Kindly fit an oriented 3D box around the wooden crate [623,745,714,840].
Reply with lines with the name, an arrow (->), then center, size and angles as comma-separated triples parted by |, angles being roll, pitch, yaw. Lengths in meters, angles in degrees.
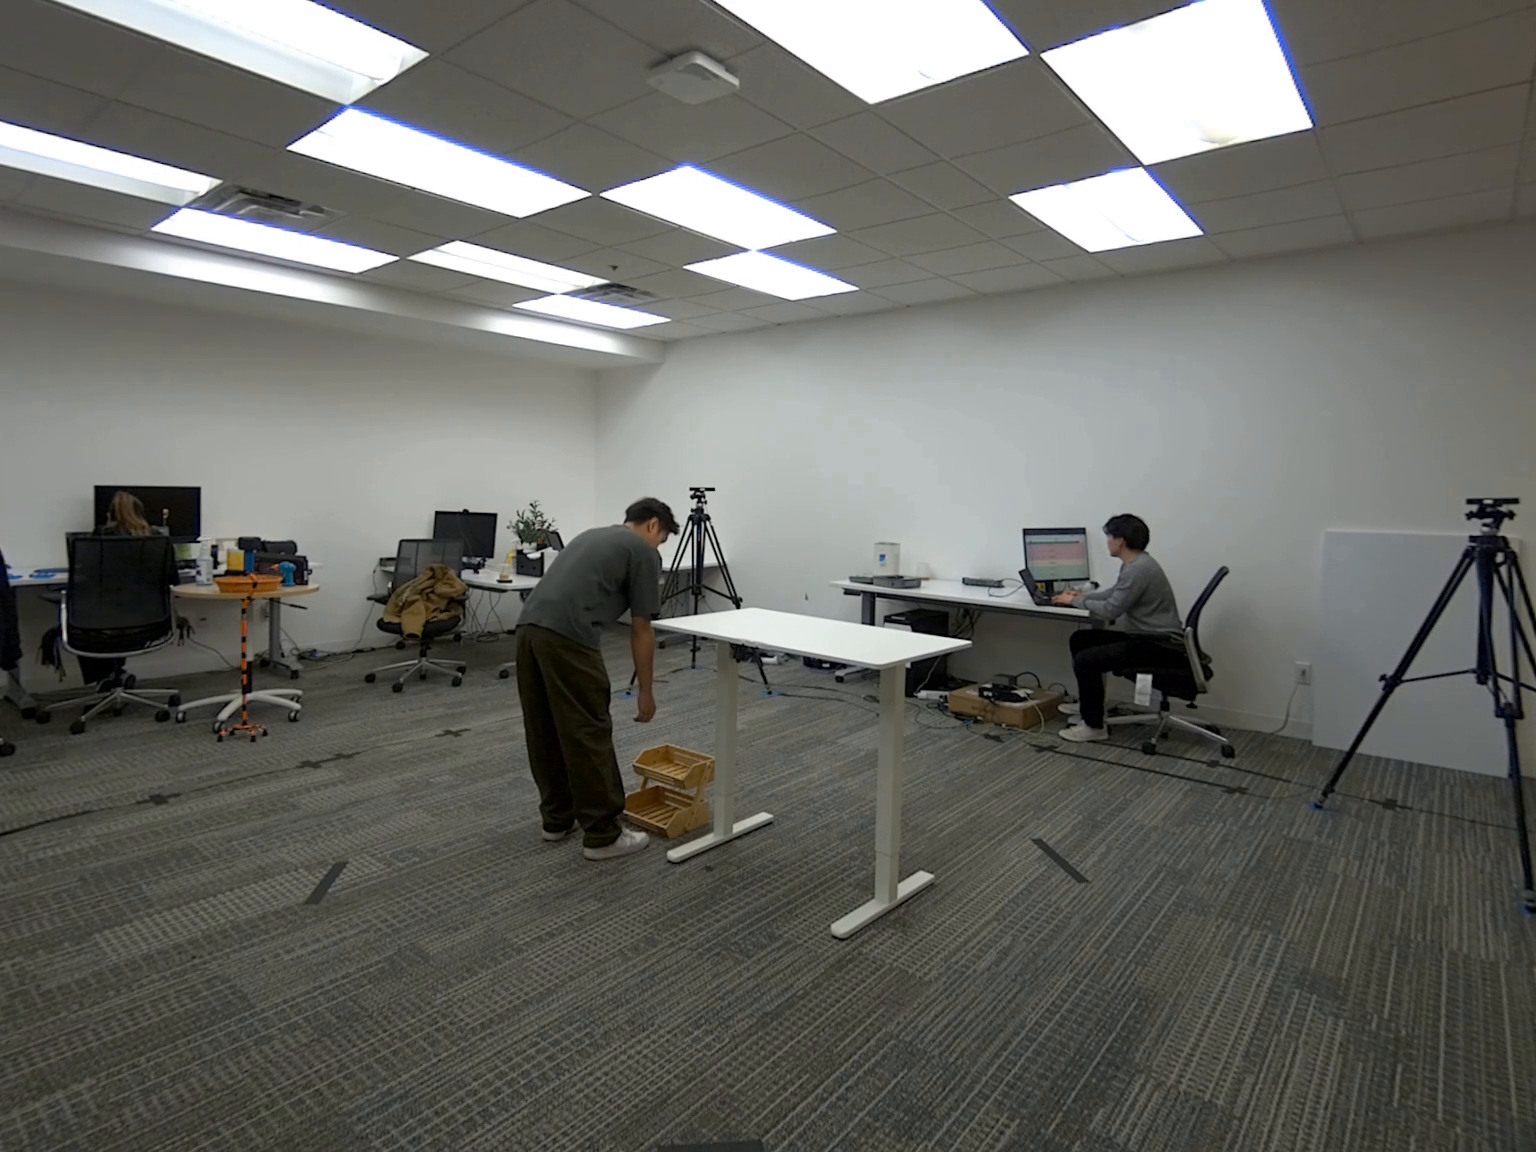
wooden crate -> -0.439, 0.882, 3.557 | 0.335, 0.272, 0.293 | 4, 5, 40
